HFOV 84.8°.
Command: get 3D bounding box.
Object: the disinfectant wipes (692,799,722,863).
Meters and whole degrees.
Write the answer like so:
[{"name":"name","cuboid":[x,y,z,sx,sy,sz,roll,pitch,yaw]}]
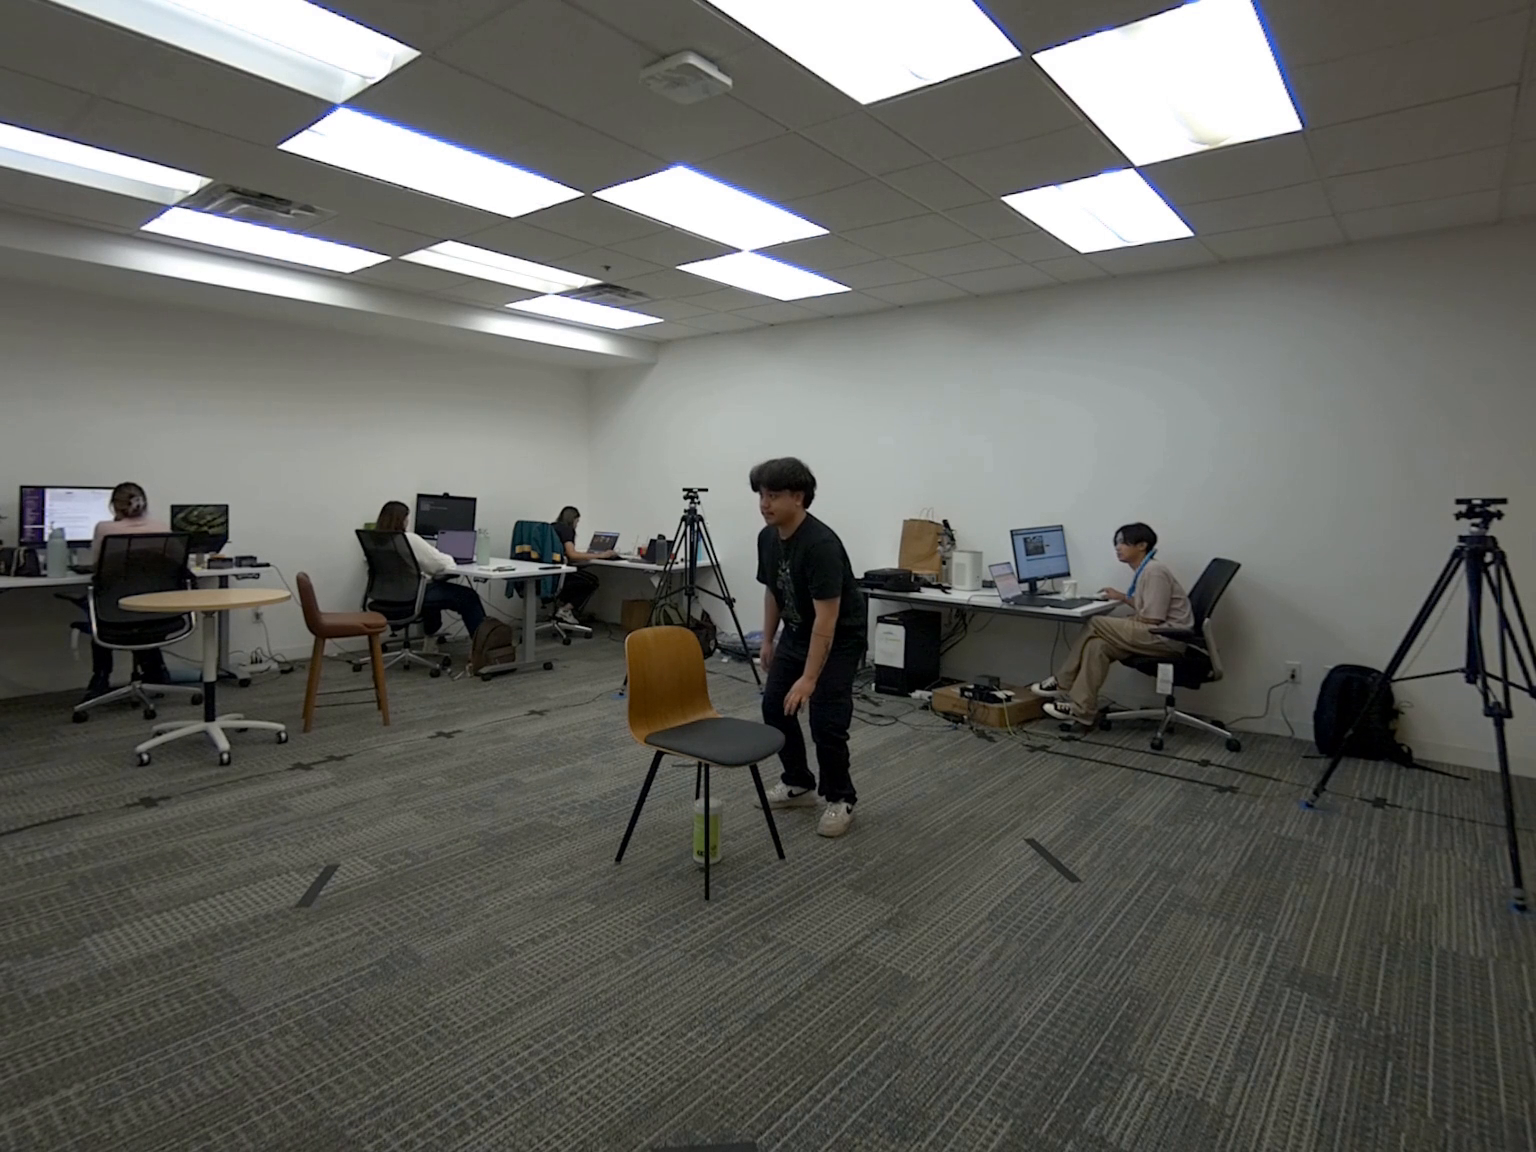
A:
[{"name":"disinfectant wipes","cuboid":[-0.245,0.966,3.207,0.118,0.217,0.118,0,2,-2]}]
